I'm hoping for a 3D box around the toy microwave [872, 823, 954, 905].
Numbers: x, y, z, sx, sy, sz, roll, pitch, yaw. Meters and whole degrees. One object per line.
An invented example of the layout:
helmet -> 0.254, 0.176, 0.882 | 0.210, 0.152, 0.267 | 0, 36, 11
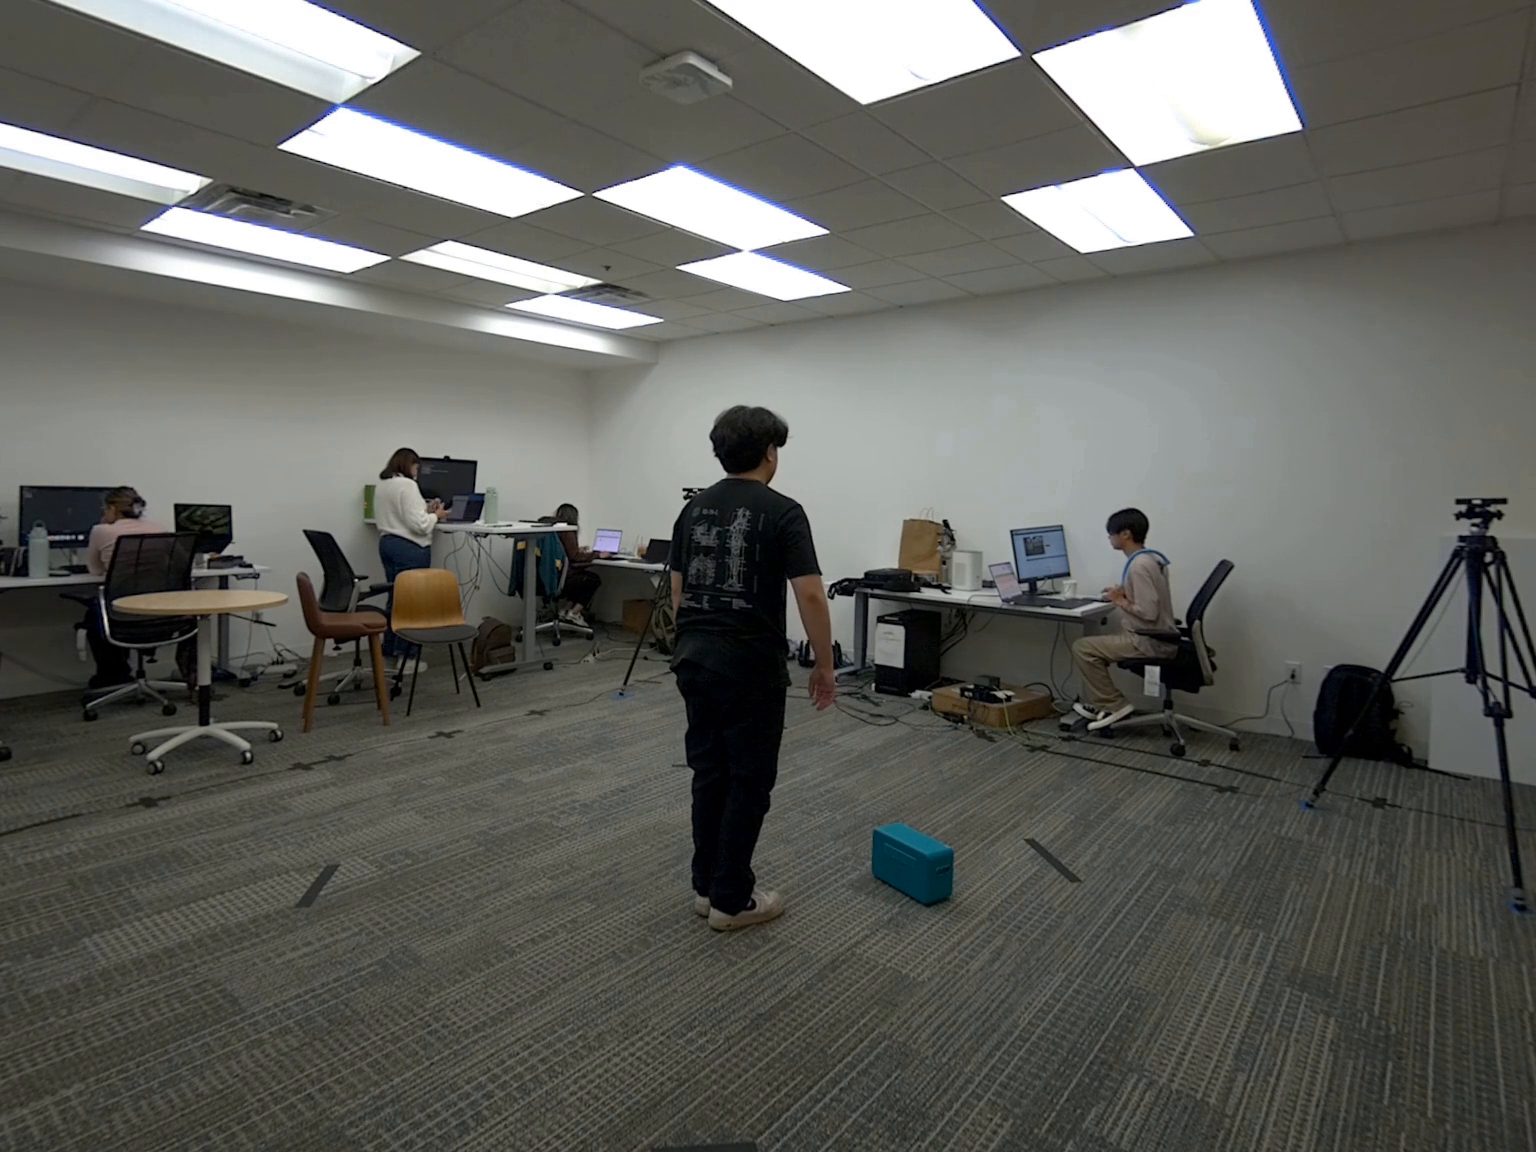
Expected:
toy microwave -> 0.509, 1.009, 3.000 | 0.148, 0.183, 0.295 | -1, 5, -34
